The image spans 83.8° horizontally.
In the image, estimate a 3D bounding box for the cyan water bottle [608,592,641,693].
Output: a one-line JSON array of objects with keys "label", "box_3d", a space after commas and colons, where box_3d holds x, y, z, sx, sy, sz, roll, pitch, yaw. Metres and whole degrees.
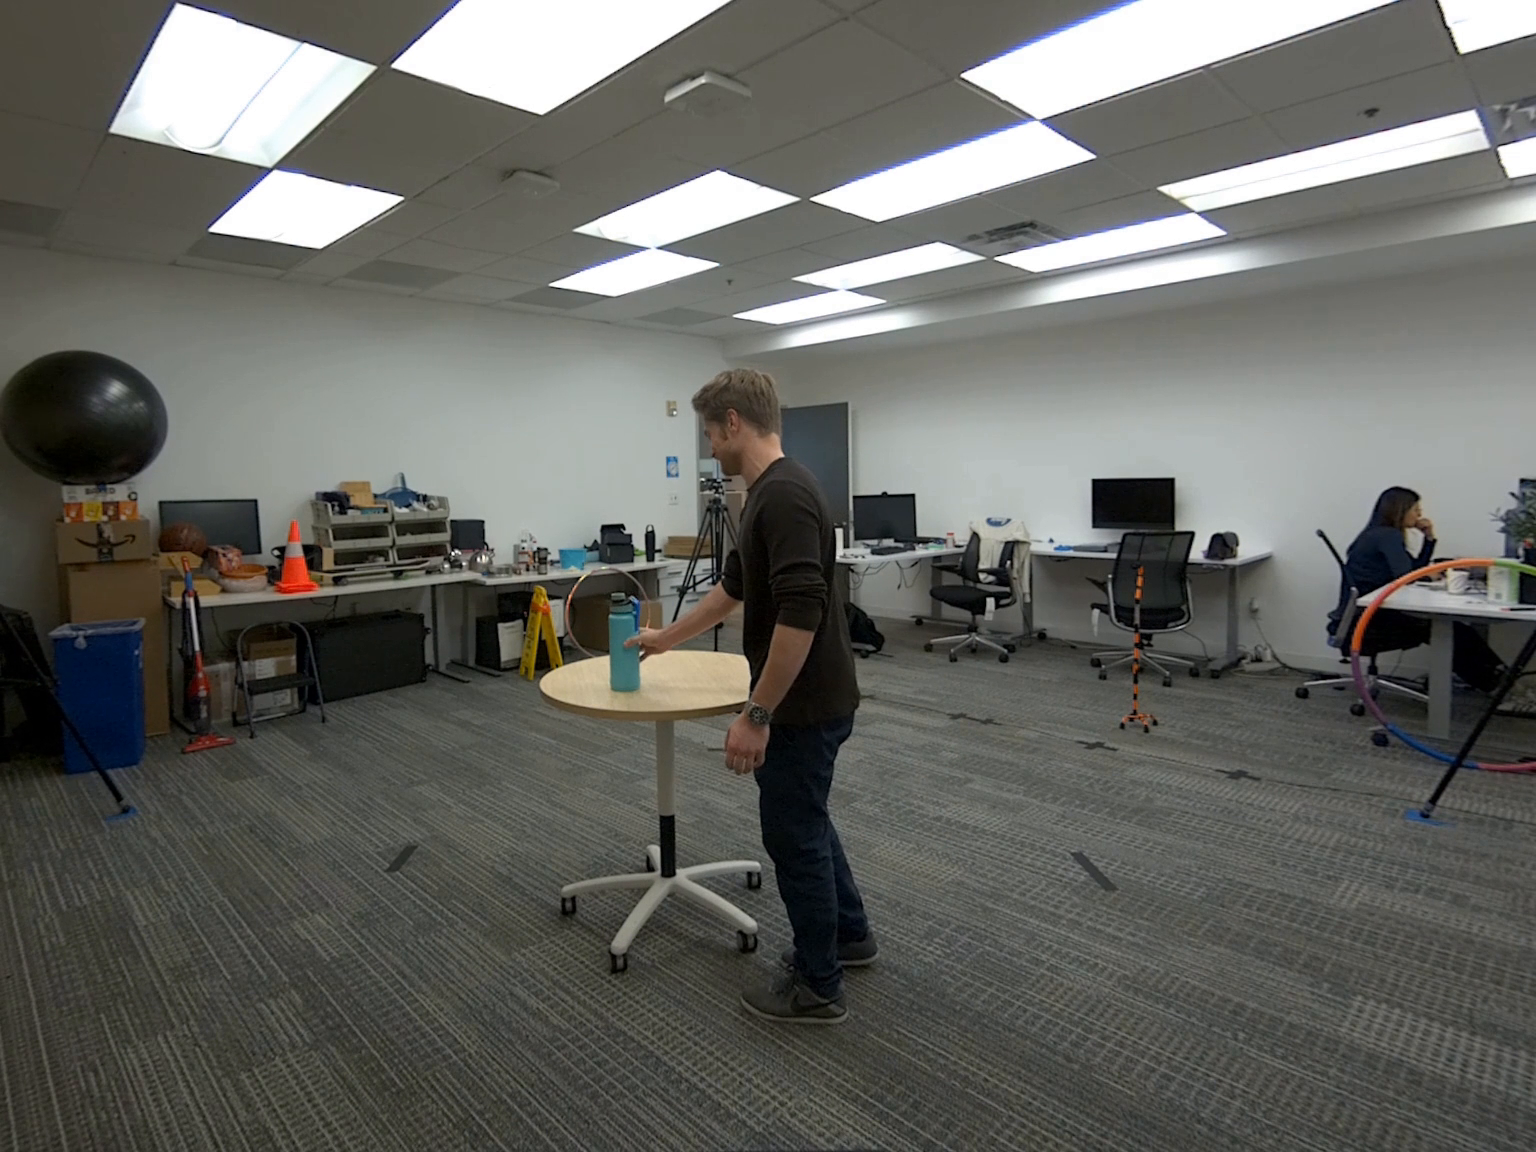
[{"label": "cyan water bottle", "box_3d": [-0.426, 0.194, 2.542, 0.092, 0.282, 0.093, 1, 4, -2]}]
